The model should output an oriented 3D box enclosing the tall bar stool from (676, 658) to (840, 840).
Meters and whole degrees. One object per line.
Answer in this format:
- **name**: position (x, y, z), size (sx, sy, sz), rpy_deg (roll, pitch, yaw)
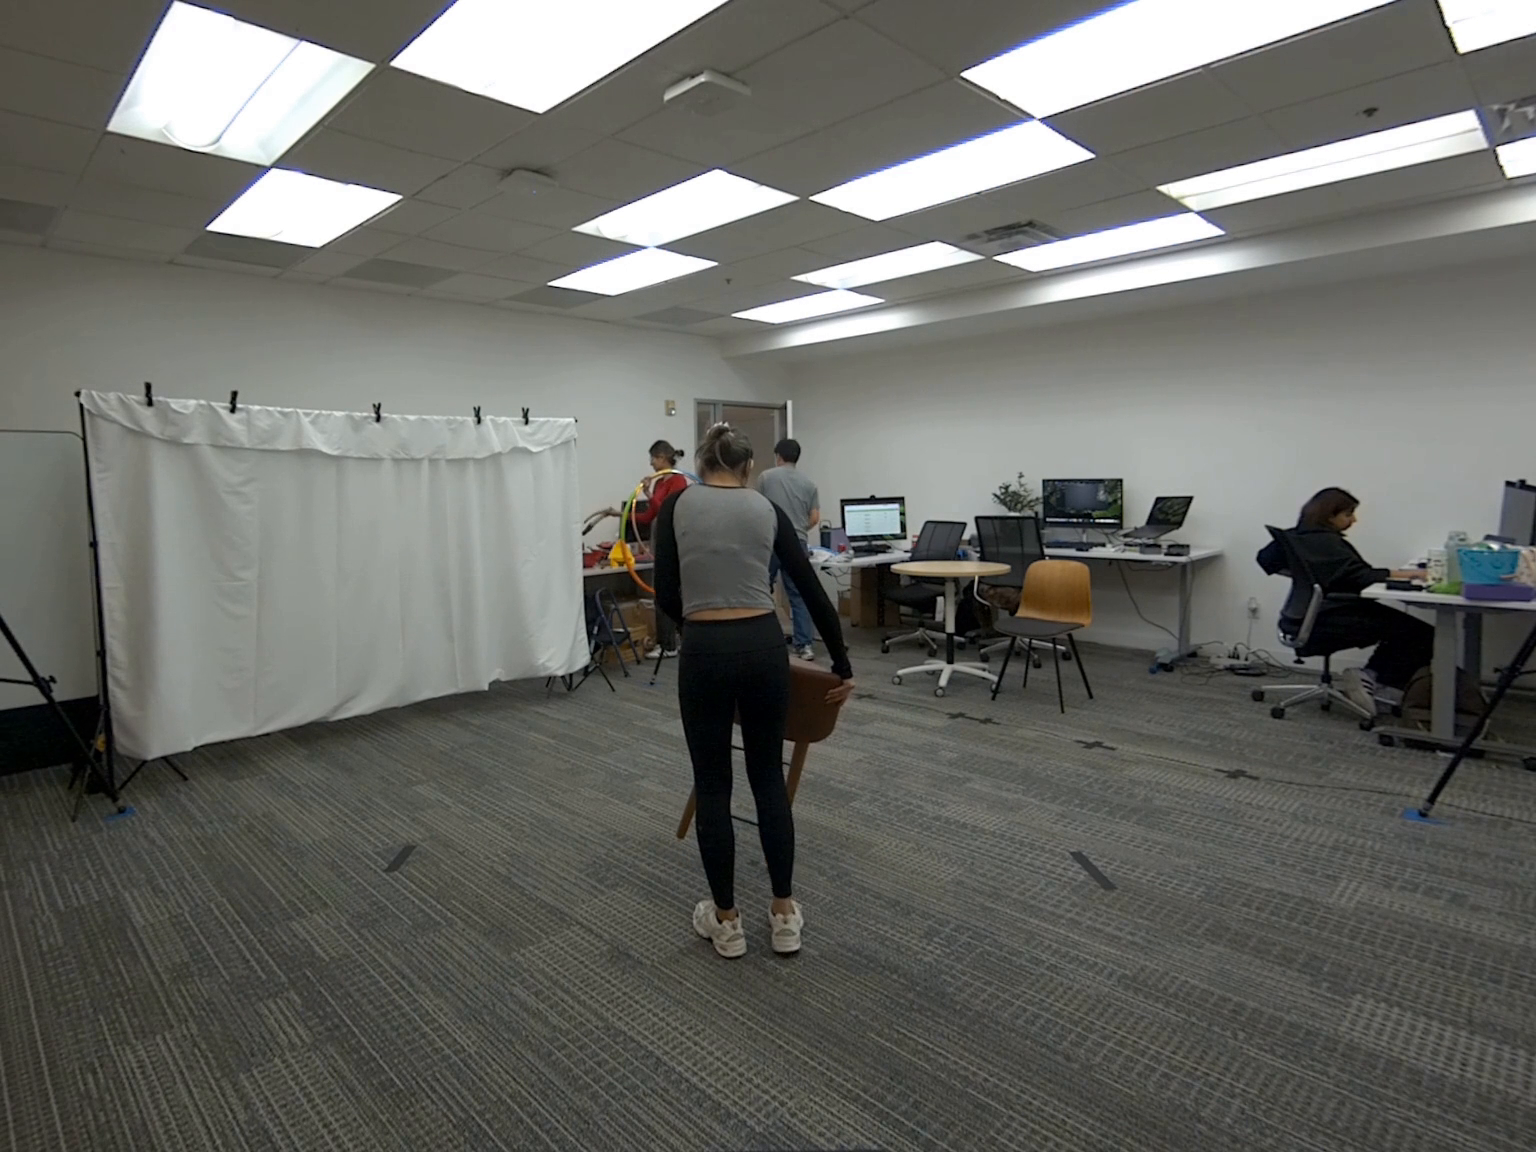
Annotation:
- **tall bar stool**: position (-0.010, 0.539, 3.064), size (0.459, 0.876, 0.472), rpy_deg (18, 29, 3)
